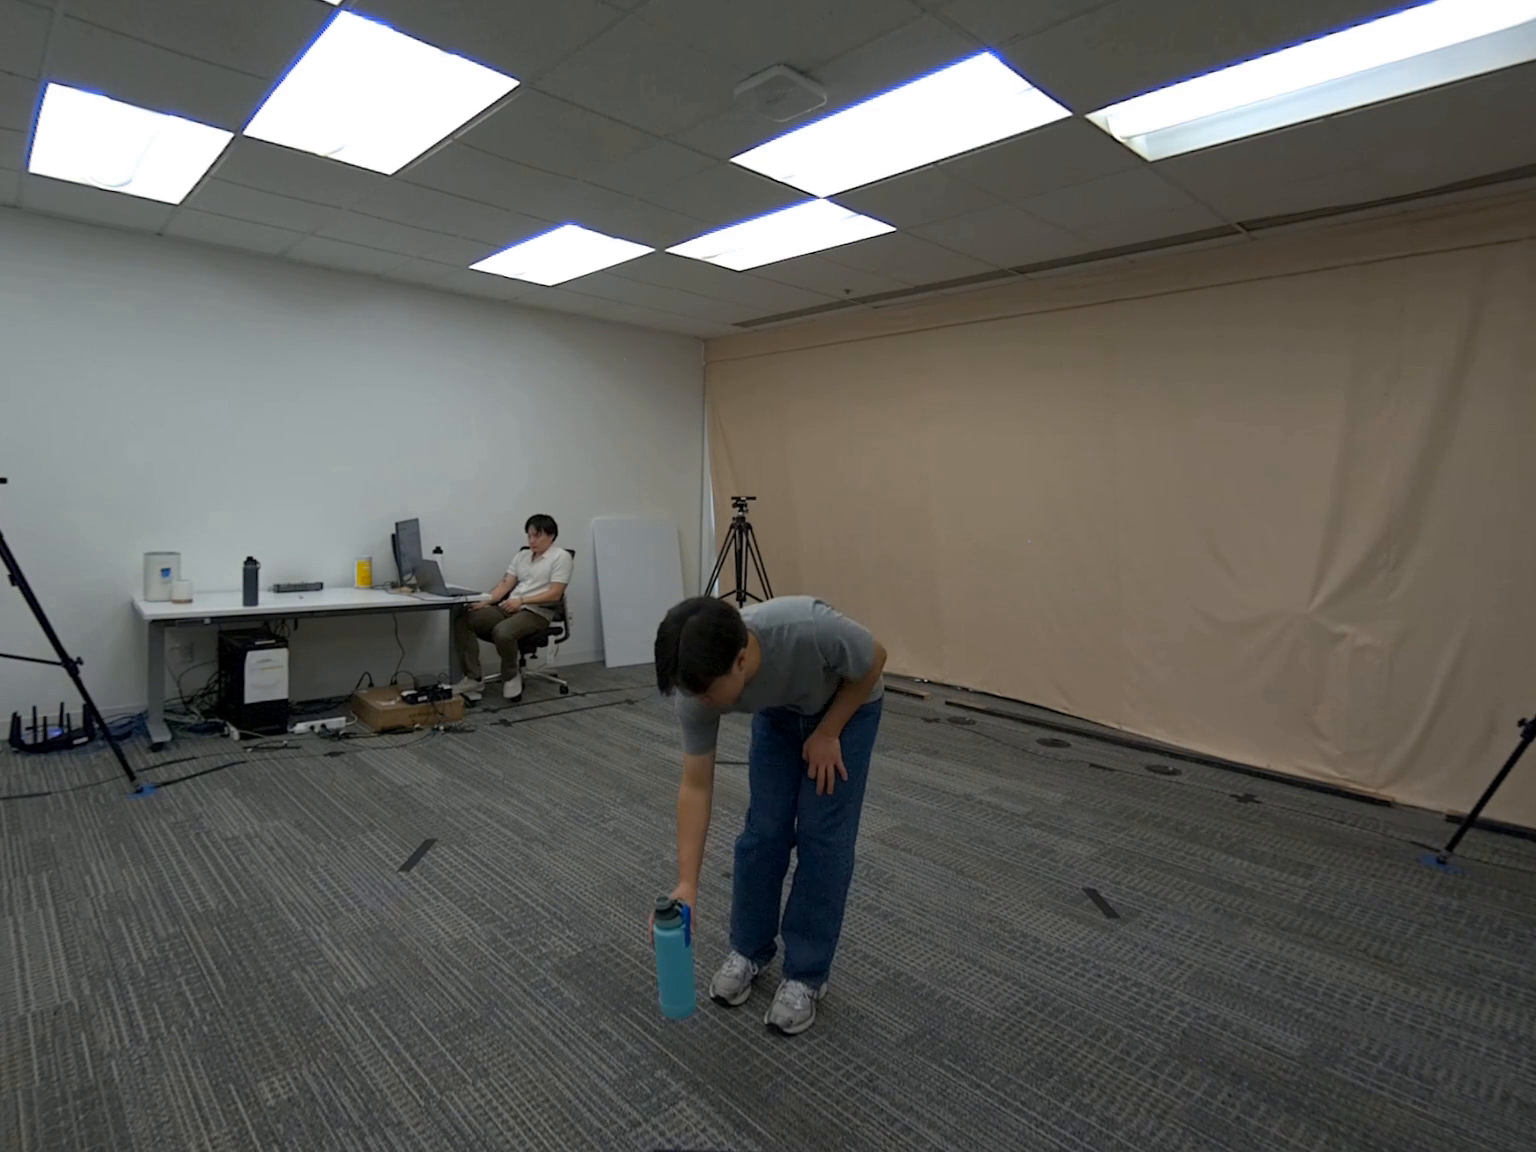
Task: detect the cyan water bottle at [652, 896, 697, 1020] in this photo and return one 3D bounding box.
[{"bbox_3d":[-0.229,0.912,2.020,0.092,0.281,0.093,-1,8,-1],"label":"cyan water bottle"}]
